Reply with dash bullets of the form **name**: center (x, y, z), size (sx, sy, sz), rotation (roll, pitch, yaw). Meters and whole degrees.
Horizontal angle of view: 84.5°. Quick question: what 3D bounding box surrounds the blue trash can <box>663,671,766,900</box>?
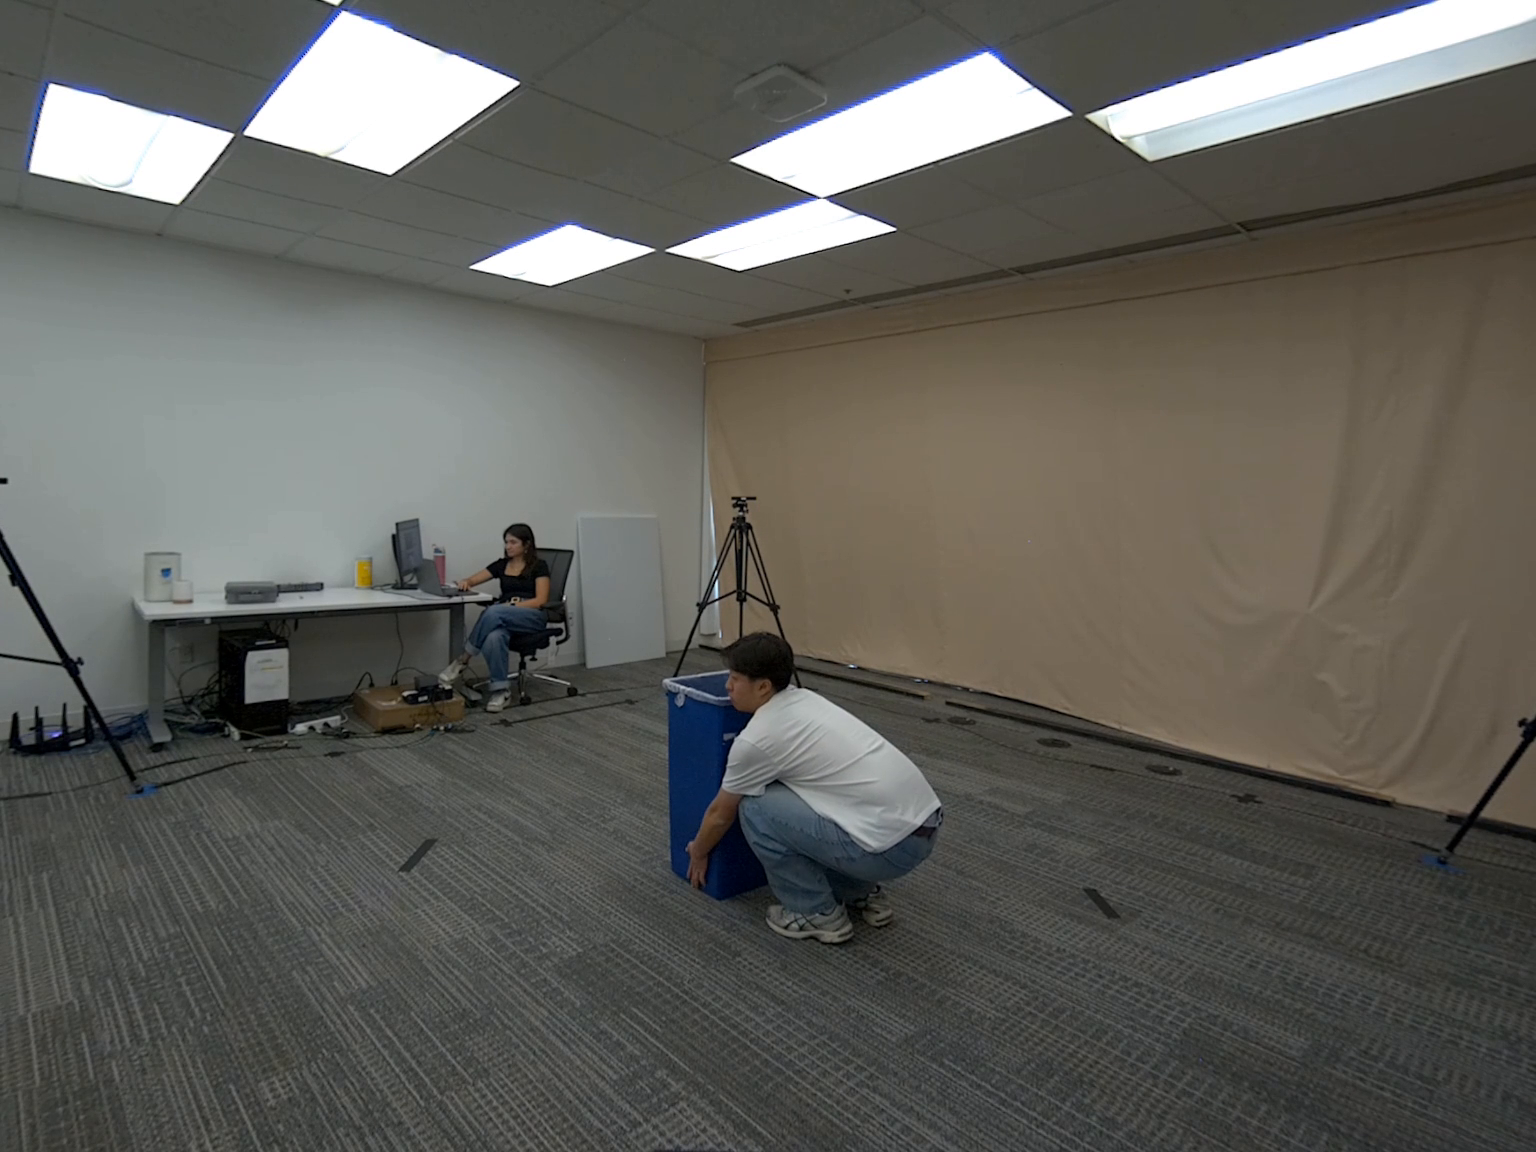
- **blue trash can**: center (-0.154, 0.742, 3.095), size (0.366, 0.711, 0.388), rotation (-2, 6, -40)
